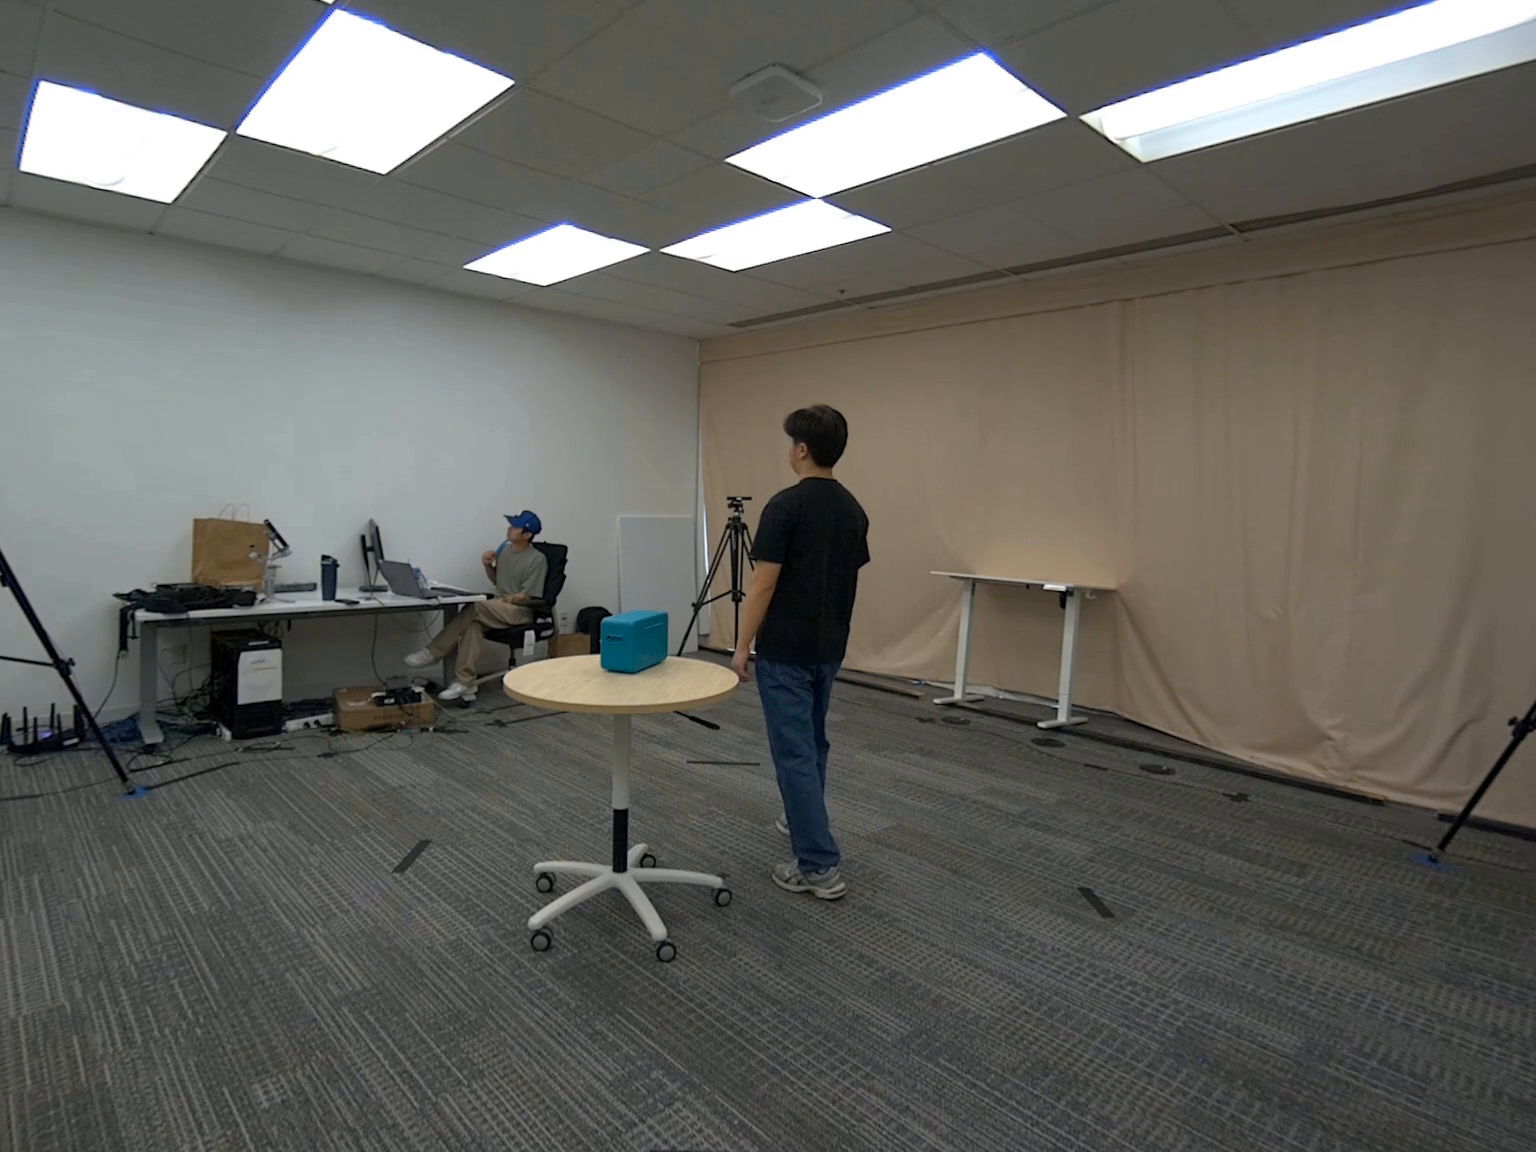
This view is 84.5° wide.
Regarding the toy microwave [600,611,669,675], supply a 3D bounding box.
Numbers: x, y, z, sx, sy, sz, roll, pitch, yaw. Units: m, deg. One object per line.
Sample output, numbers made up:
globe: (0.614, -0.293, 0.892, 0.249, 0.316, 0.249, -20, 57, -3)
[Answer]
toy microwave: (-0.473, 0.226, 2.938, 0.154, 0.183, 0.283, 2, 5, 17)
